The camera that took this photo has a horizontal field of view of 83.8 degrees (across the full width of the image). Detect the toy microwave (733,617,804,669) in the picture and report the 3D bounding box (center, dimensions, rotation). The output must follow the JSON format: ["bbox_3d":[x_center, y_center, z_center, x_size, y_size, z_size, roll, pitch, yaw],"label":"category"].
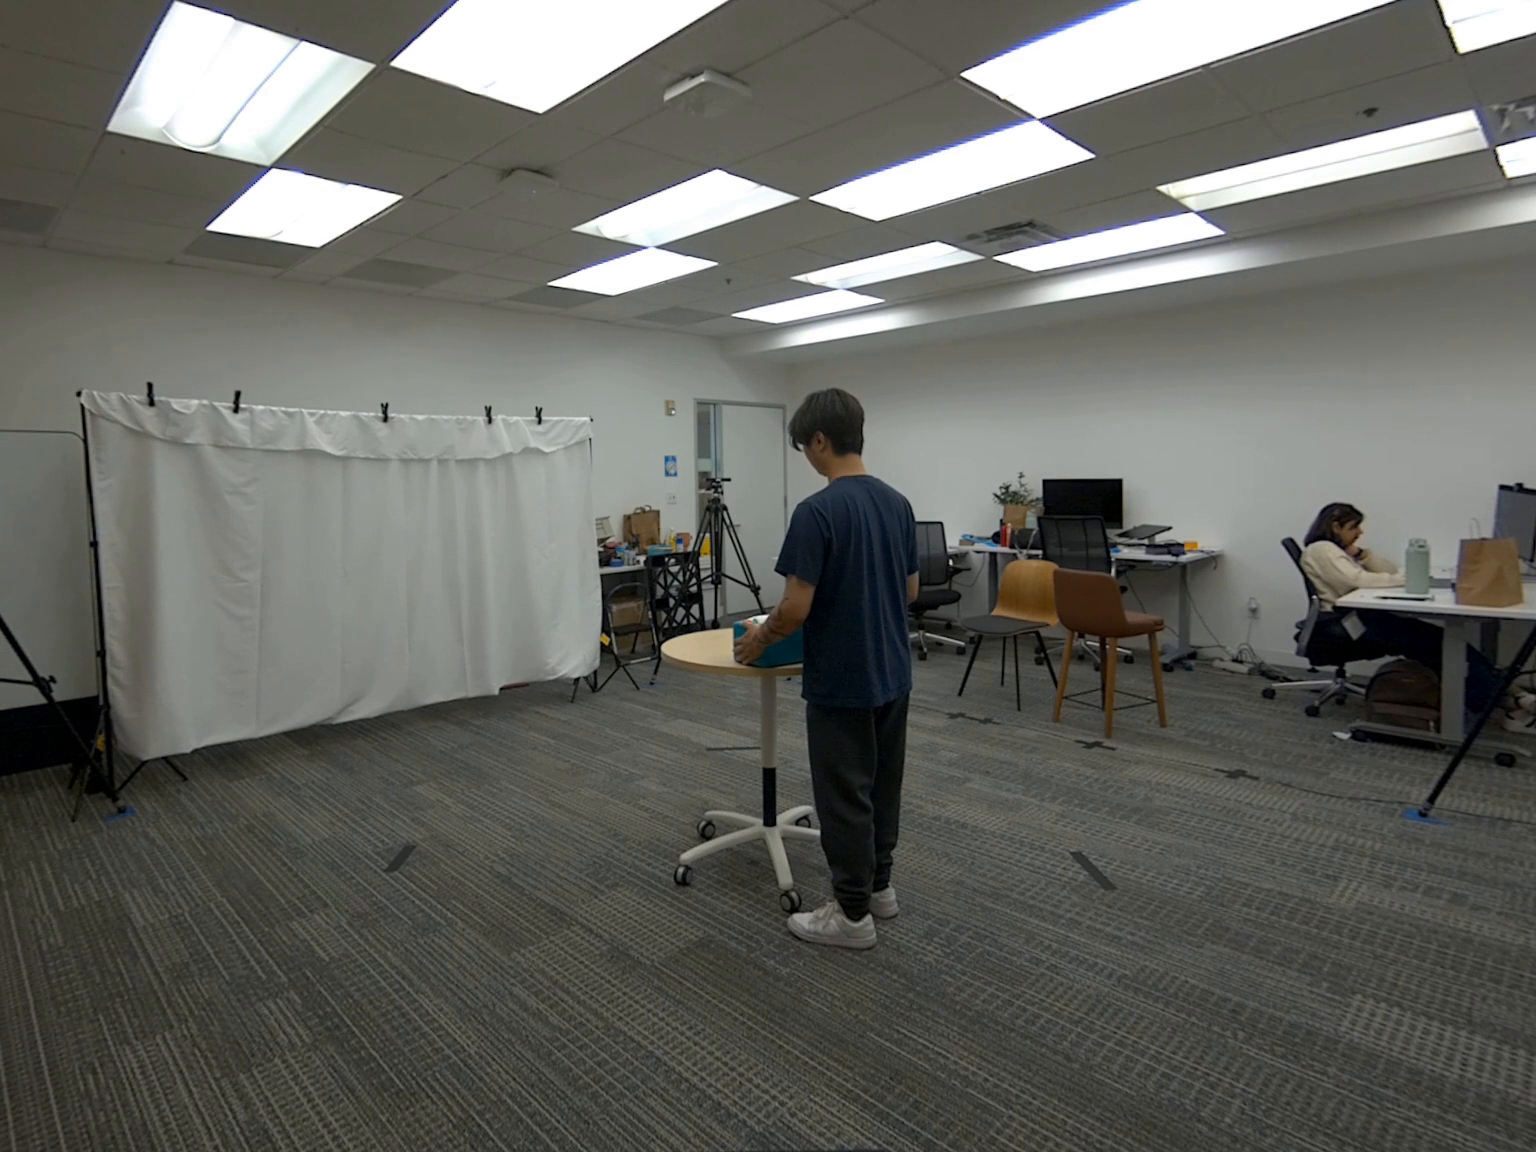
[{"bbox_3d":[0.043,0.200,2.810,0.279,0.152,0.189,-4,3,-36],"label":"toy microwave"}]
